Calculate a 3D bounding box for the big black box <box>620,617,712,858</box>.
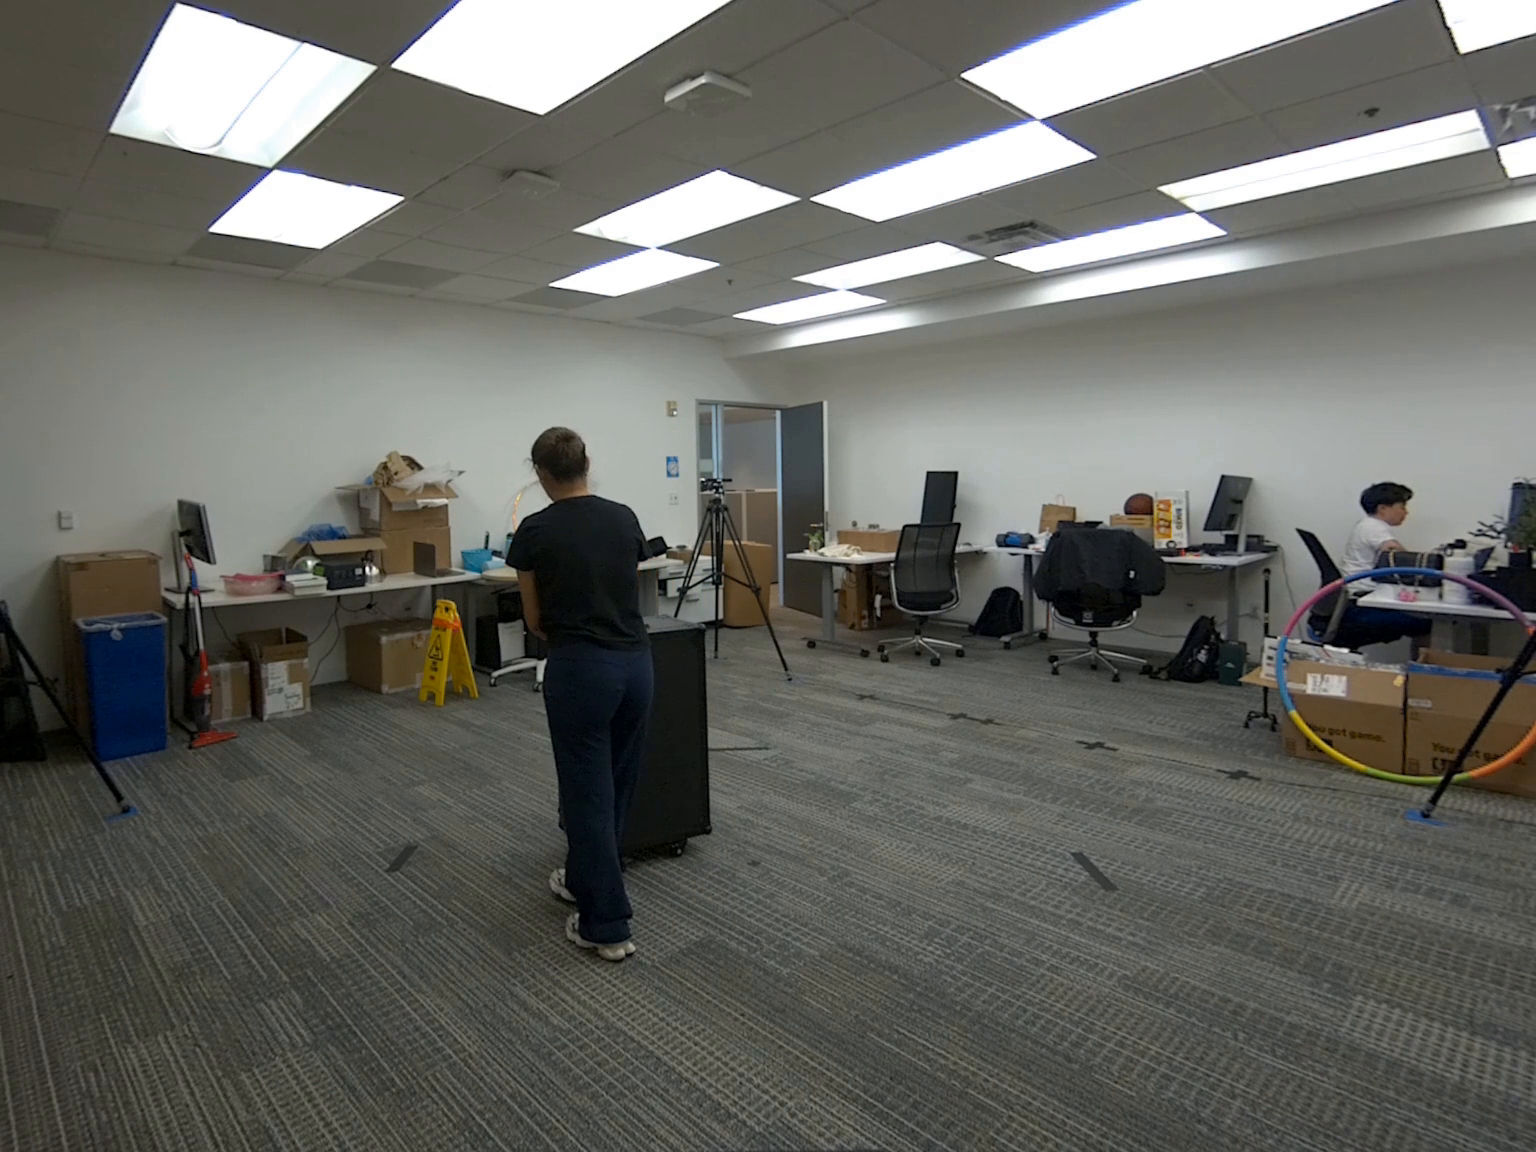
[{"bbox_3d":[-0.527,0.611,3.243,0.509,0.859,0.406,-3,3,-29],"label":"big black box"}]
